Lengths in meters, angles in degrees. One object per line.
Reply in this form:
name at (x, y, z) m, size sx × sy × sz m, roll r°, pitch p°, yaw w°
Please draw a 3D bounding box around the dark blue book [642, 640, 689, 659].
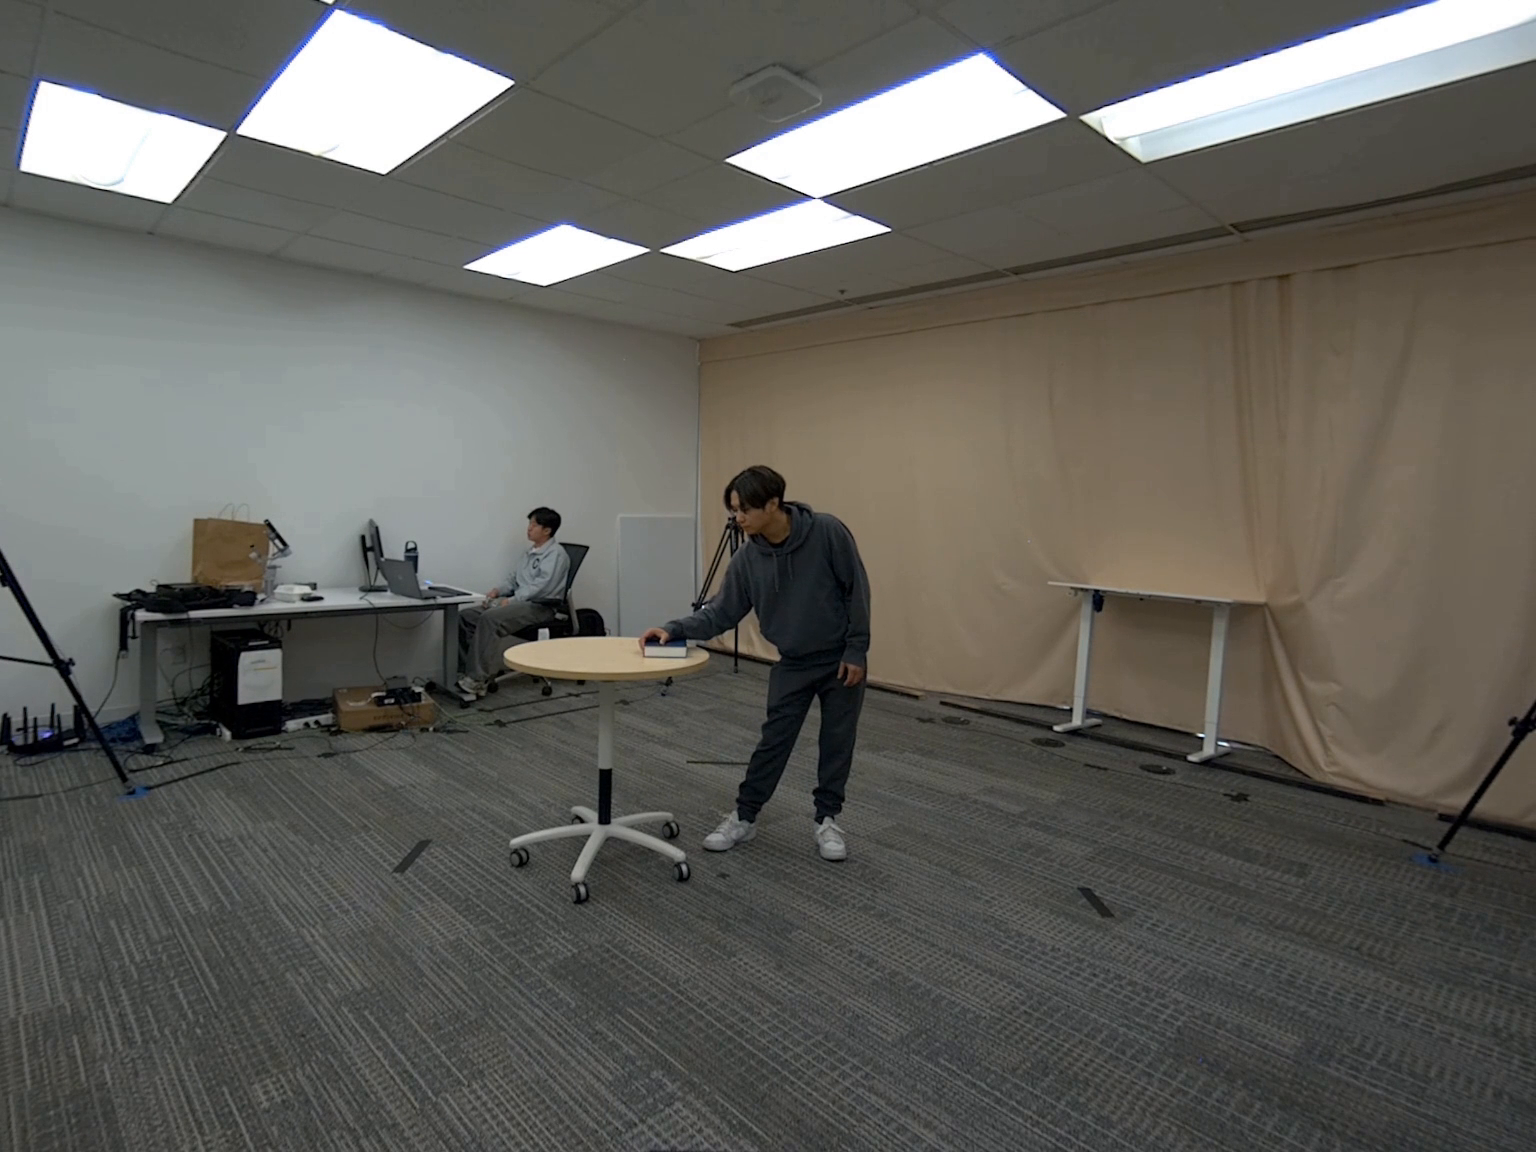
dark blue book at (-0.403, 0.272, 3.237) m, size 0.162 × 0.045 × 0.247 m, roll 2°, pitch 3°, yaw -8°
